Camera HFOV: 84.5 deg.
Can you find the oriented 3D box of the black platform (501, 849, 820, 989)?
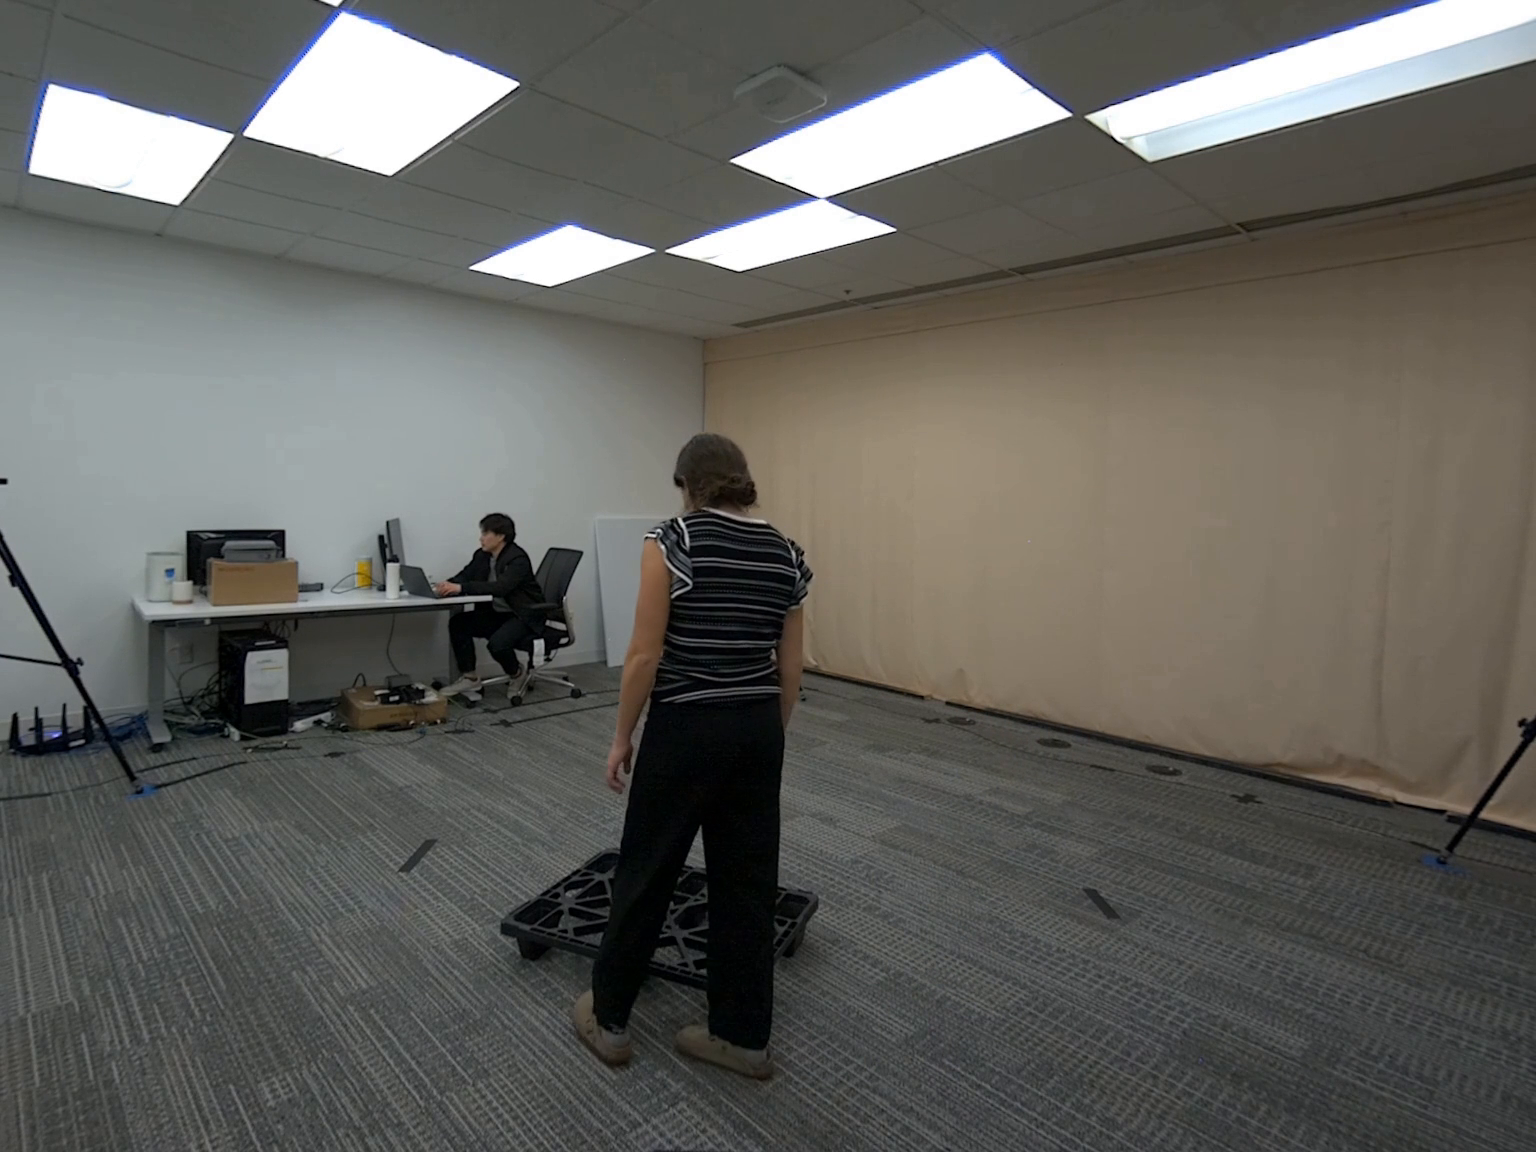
[{"bbox_3d":[-0.323,1.082,2.588,0.820,0.143,0.596,4,5,23],"label":"black platform"}]
